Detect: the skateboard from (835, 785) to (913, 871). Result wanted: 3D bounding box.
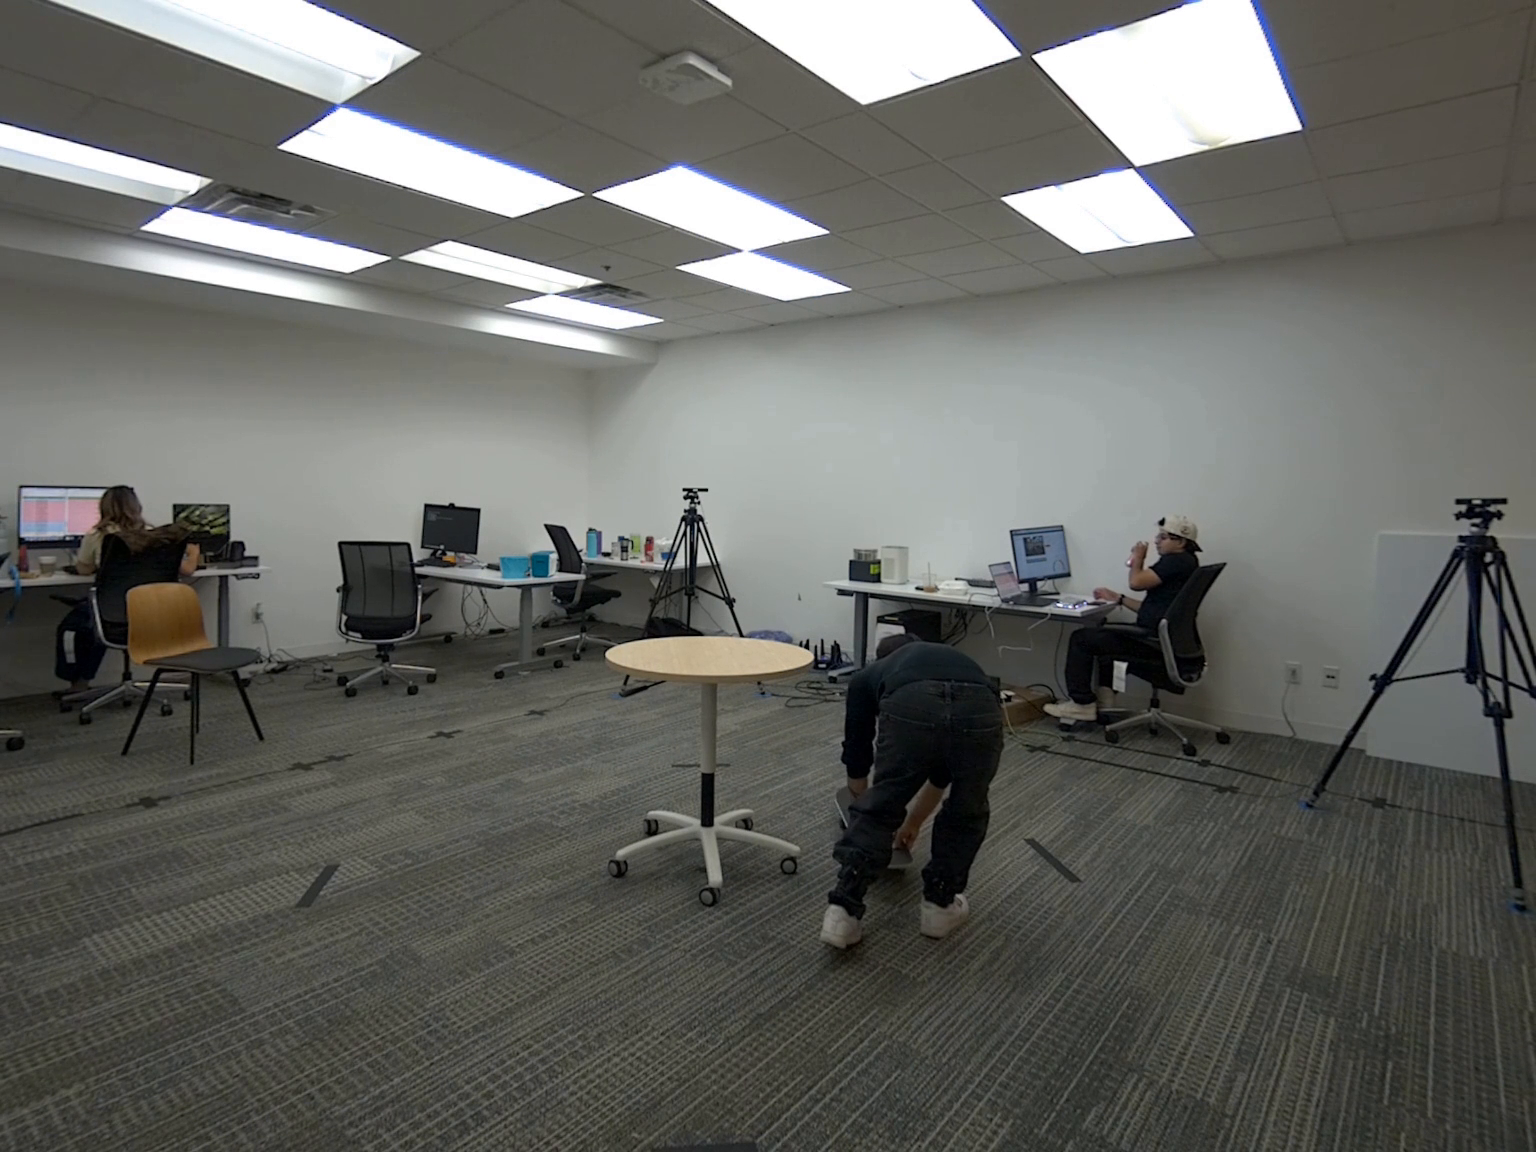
[{"bbox_3d":[0.384,0.994,3.326,0.193,0.110,0.791,1,5,-5],"label":"skateboard"}]
